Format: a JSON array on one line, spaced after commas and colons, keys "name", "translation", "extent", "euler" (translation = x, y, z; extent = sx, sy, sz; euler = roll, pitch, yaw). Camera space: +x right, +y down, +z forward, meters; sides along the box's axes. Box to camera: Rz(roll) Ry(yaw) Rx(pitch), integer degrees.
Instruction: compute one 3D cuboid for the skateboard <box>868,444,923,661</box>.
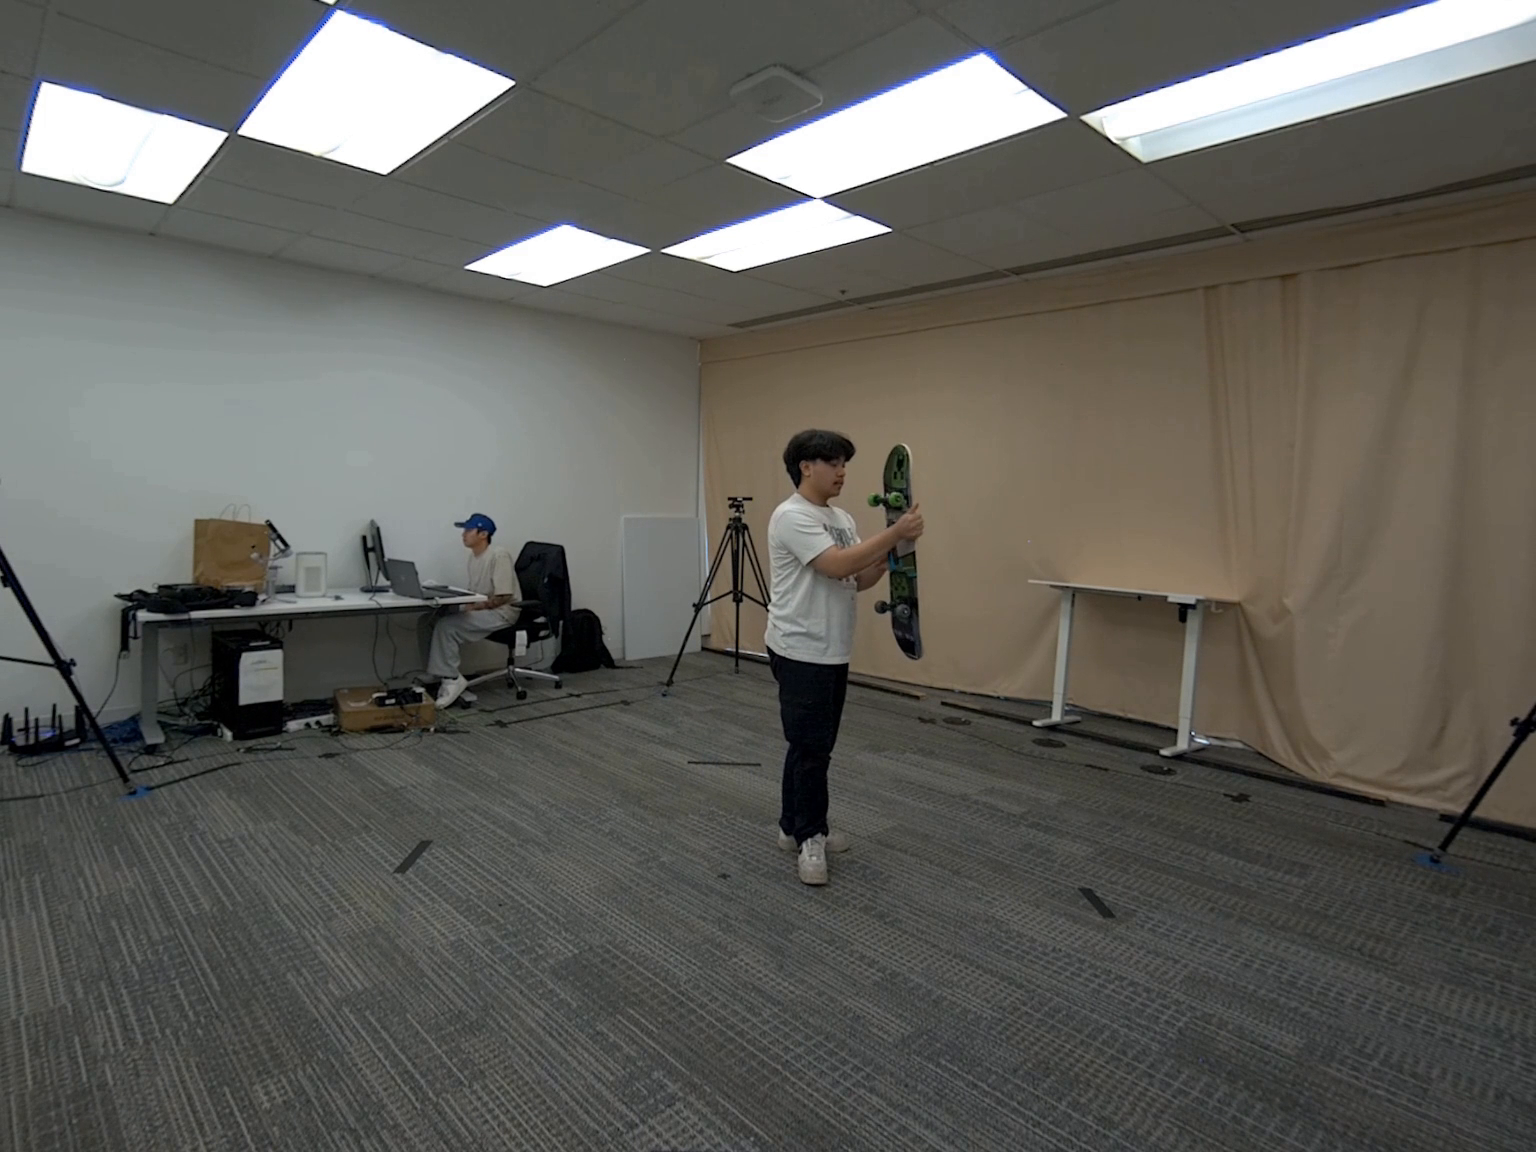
[{"name": "skateboard", "translation": [0.459, -0.081, 3.055], "extent": [0.109, 0.783, 0.196], "euler": [-5, 4, -18]}]
